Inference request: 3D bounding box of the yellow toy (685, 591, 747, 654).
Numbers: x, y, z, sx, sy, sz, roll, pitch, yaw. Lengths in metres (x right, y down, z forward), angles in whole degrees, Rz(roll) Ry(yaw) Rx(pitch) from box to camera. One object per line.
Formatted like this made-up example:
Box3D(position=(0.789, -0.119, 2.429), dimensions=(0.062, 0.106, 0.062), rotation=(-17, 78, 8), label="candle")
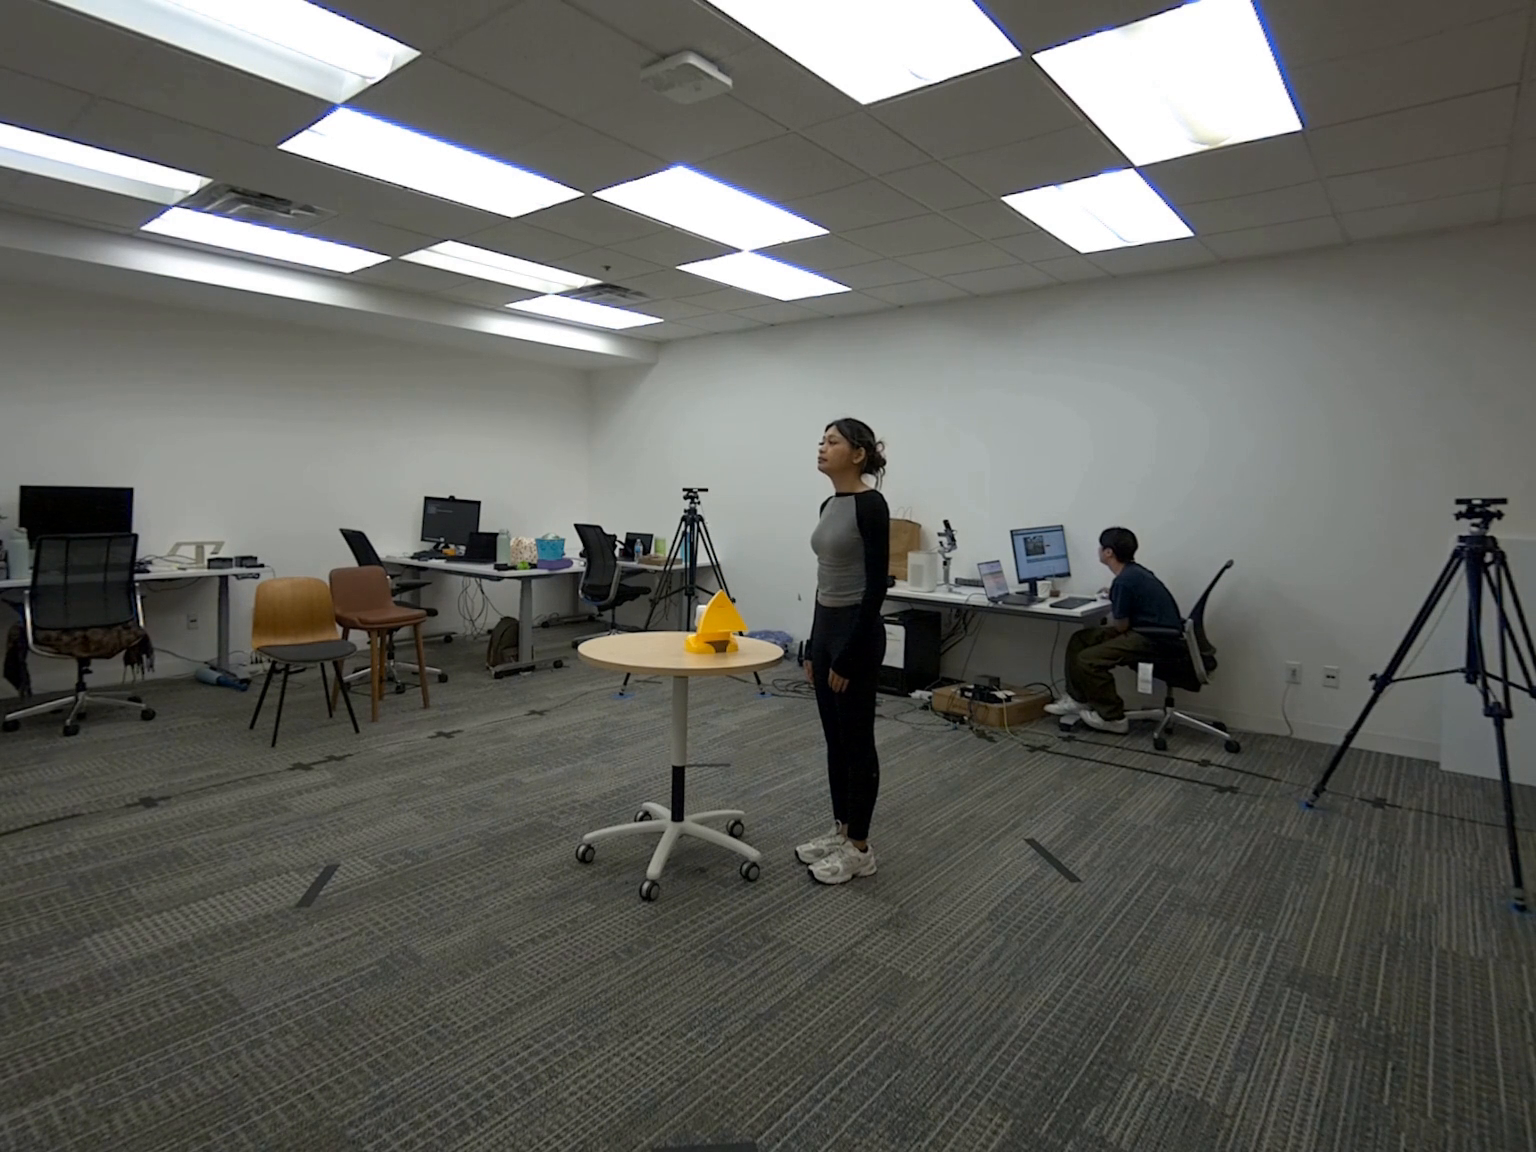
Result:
Box3D(position=(-0.218, 0.157, 3.170), dimensions=(0.199, 0.230, 0.199), rotation=(0, 3, -31), label="yellow toy")
